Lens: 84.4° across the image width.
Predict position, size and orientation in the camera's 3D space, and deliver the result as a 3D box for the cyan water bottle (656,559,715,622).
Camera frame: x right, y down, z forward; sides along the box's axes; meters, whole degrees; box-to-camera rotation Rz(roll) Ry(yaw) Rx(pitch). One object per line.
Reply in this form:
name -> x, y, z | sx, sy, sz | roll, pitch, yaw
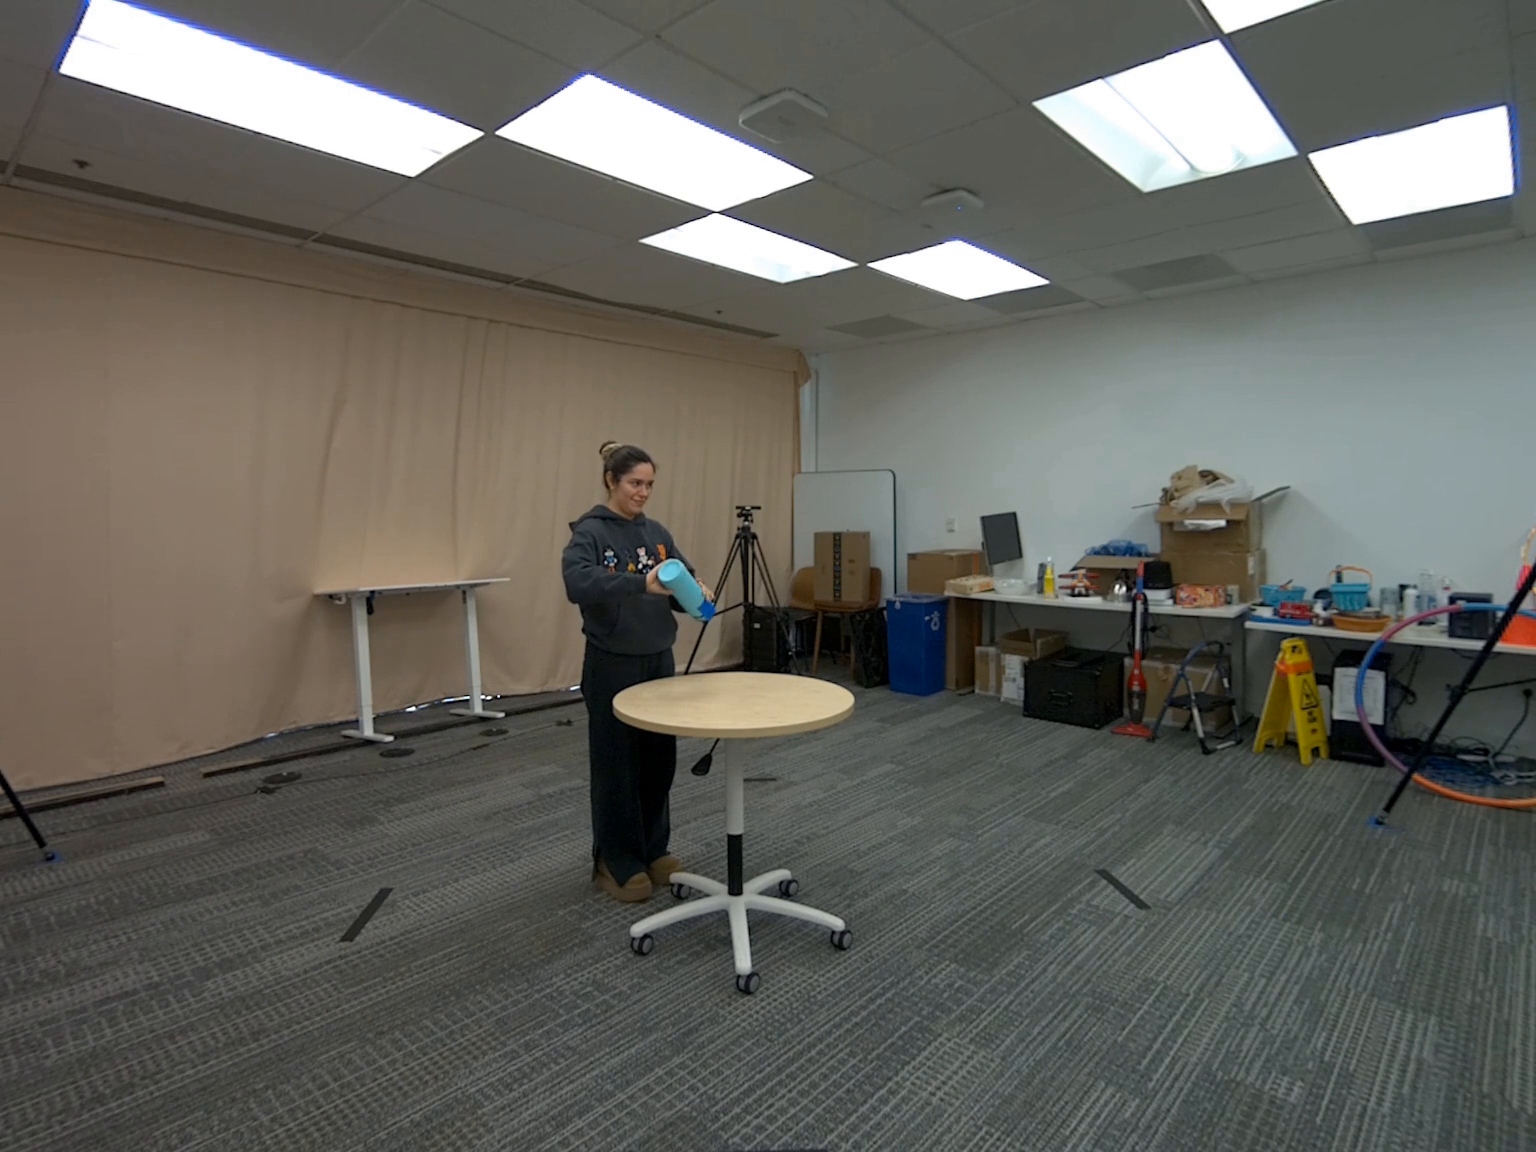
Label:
cyan water bottle -> -0.266, 0.057, 2.812 | 0.094, 0.093, 0.275 | 2, -34, 21
